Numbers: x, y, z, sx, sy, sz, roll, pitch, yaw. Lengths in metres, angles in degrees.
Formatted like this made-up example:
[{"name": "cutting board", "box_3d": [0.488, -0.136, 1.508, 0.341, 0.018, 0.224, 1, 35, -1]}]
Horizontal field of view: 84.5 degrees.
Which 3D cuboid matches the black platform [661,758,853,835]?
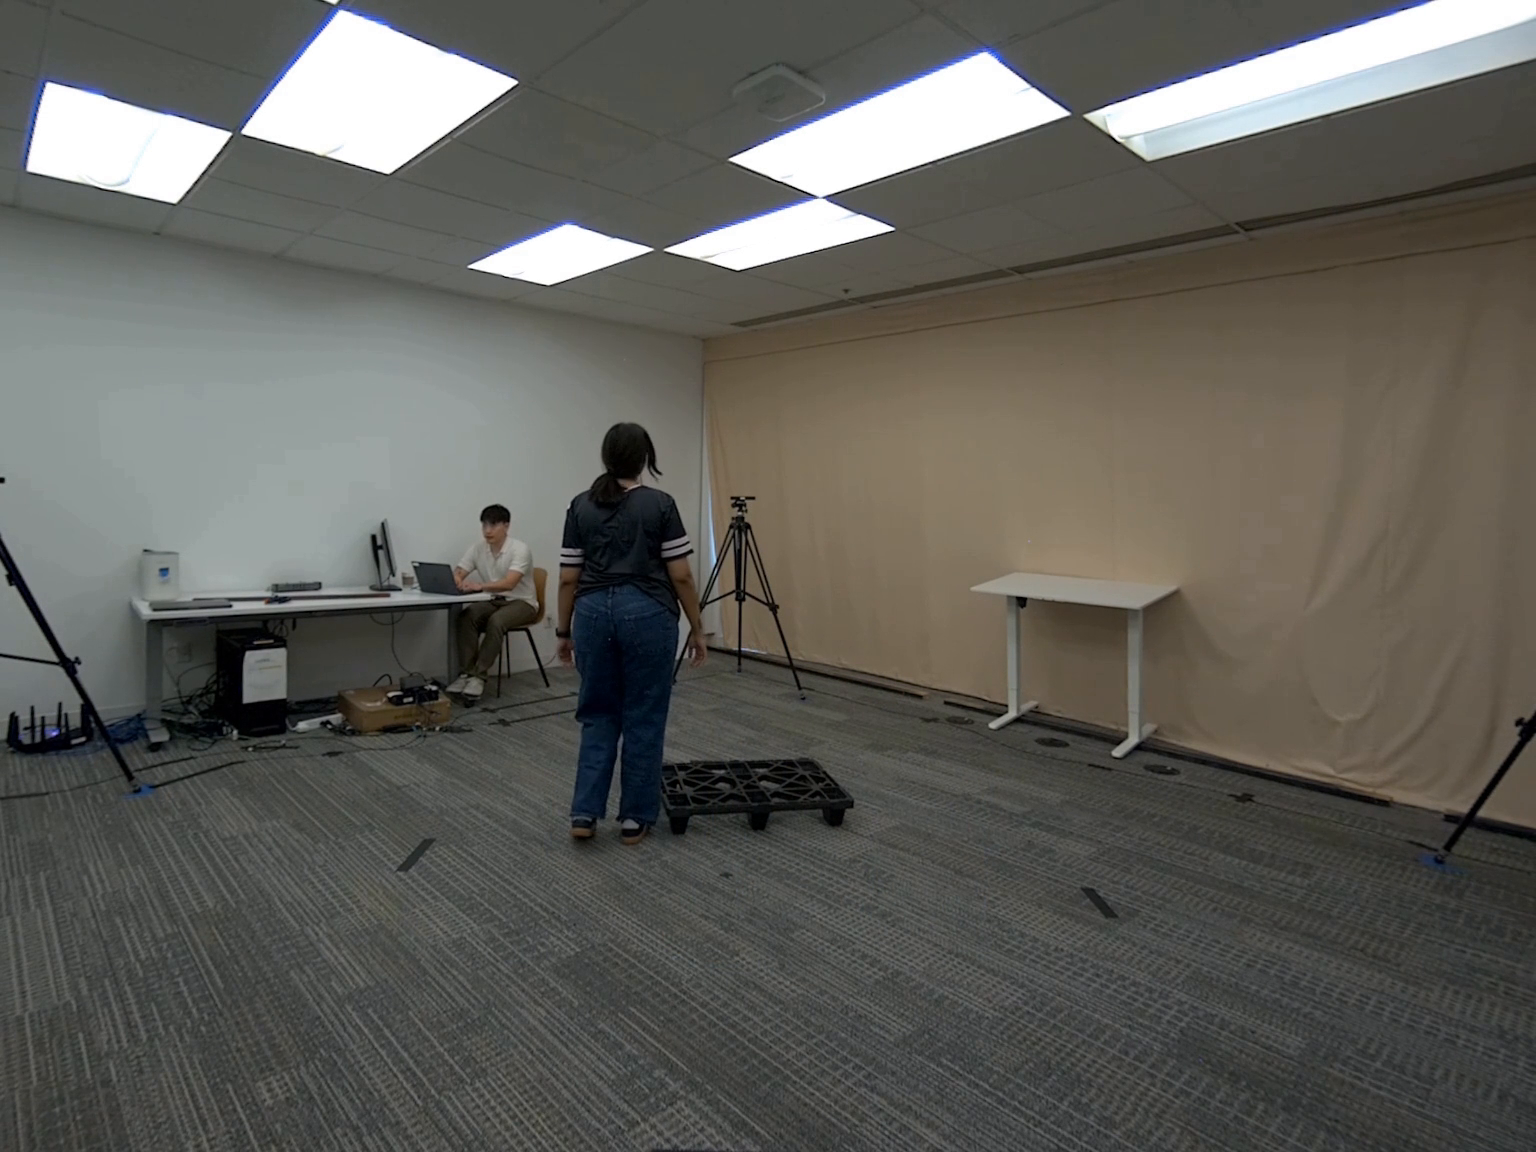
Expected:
[{"name": "black platform", "box_3d": [-0.095, 0.980, 3.764, 0.798, 0.143, 0.613, 0, 5, -12]}]
